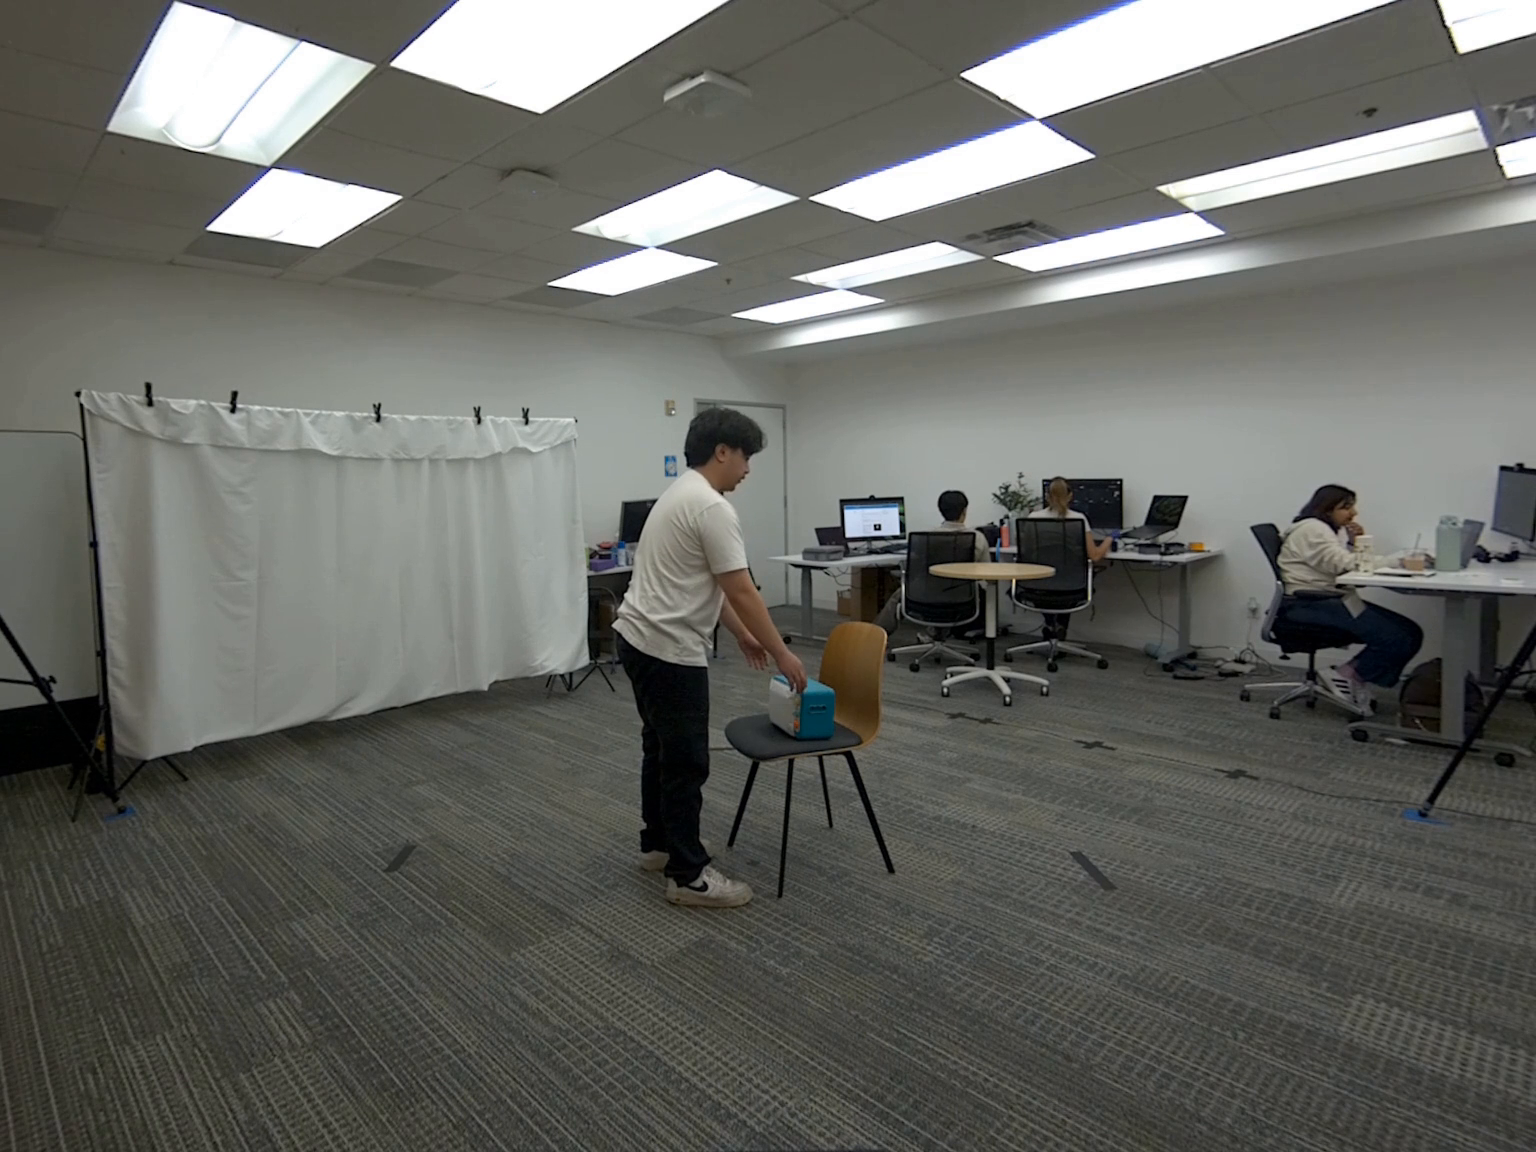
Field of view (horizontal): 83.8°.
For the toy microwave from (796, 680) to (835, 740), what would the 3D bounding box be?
[{"bbox_3d":[0.111,0.465,3.066,0.149,0.183,0.293,2,4,-22],"label":"toy microwave"}]
